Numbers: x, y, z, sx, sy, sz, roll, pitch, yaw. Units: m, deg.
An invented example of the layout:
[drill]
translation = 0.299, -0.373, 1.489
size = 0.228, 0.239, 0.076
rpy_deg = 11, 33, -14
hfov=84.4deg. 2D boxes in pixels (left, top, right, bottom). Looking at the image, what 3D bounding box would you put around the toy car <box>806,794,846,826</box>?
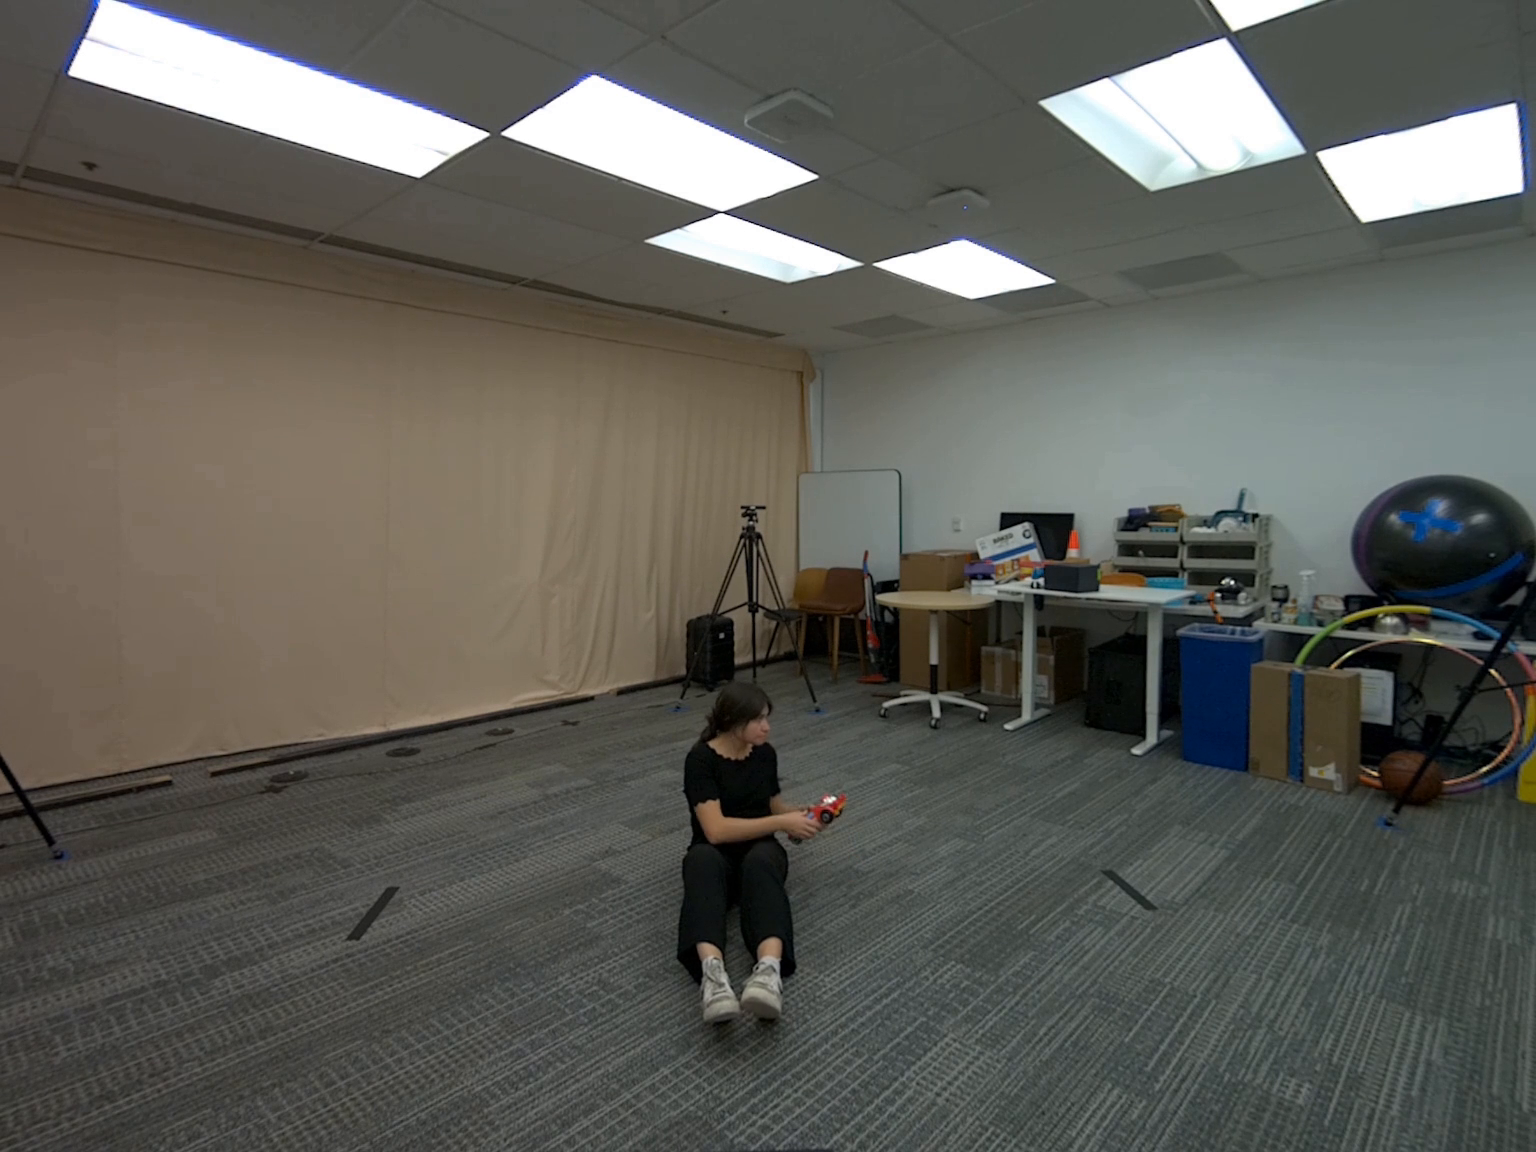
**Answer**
[toy car]
translation = 0.165, 0.870, 2.981
size = 0.085, 0.255, 0.127
rpy_deg = 43, 16, 20
